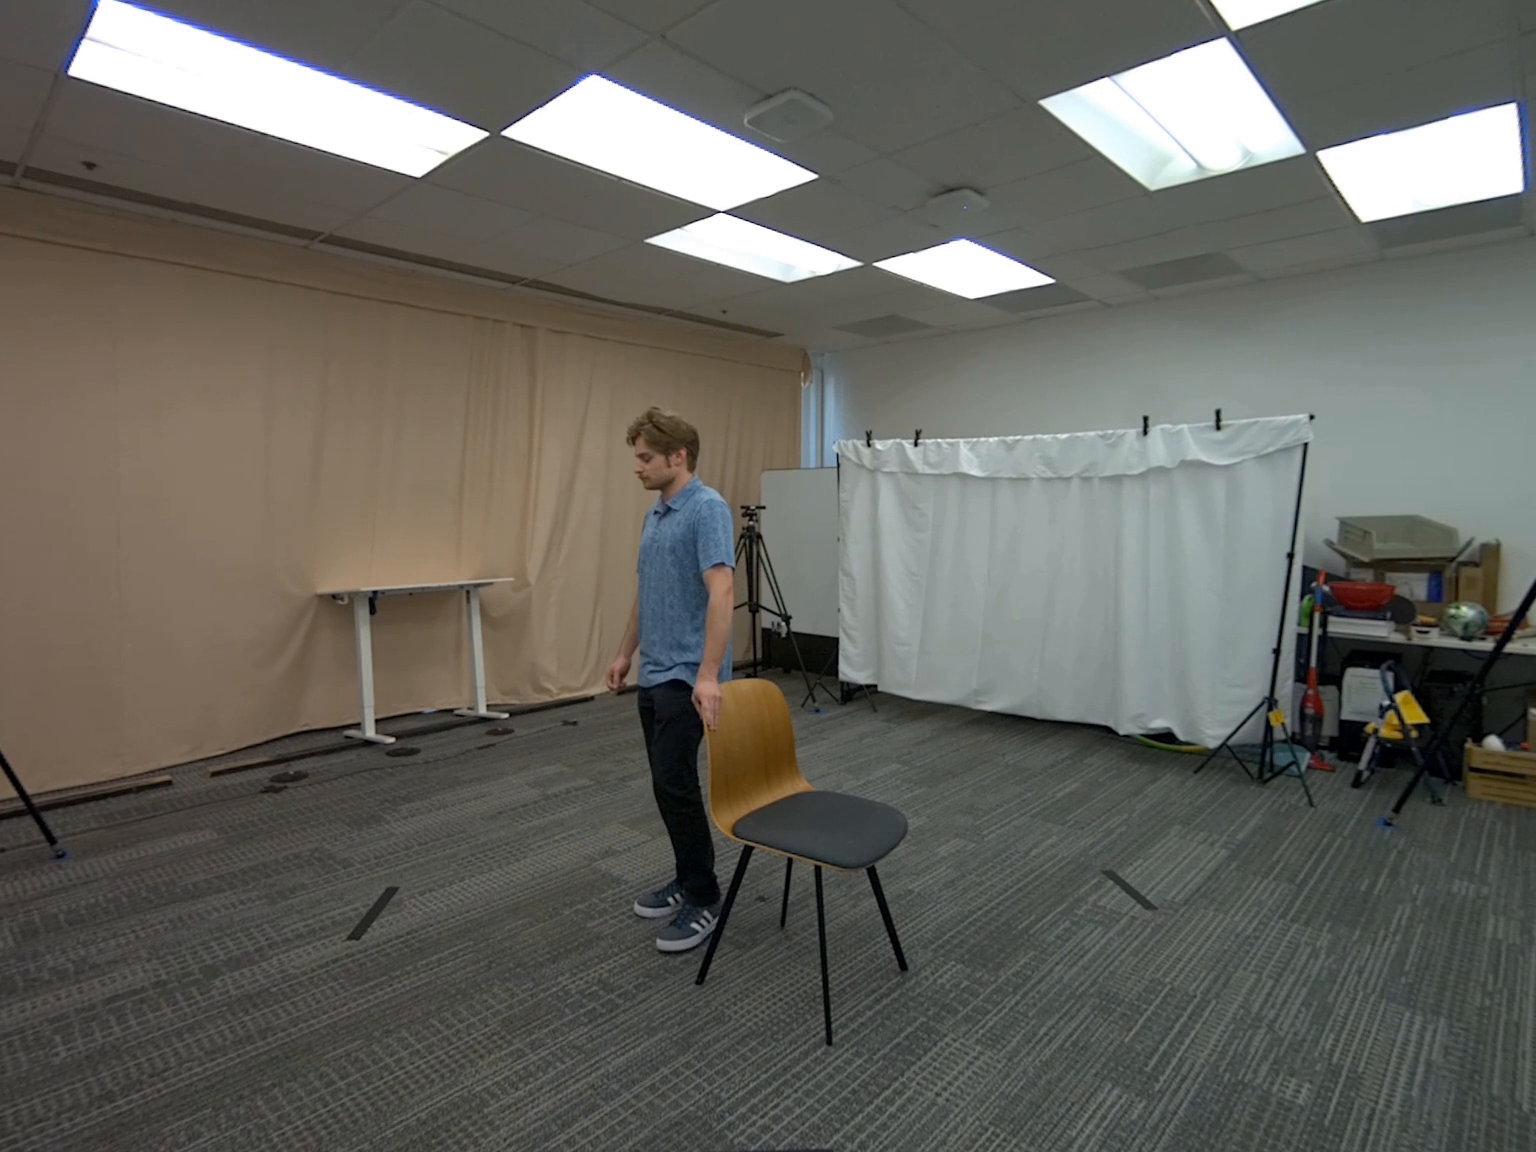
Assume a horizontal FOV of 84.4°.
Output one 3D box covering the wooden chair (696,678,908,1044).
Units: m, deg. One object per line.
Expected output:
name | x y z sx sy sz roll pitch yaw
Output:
wooden chair | 0.117 0.760 2.450 0.539 0.877 0.464 -4 0 37
